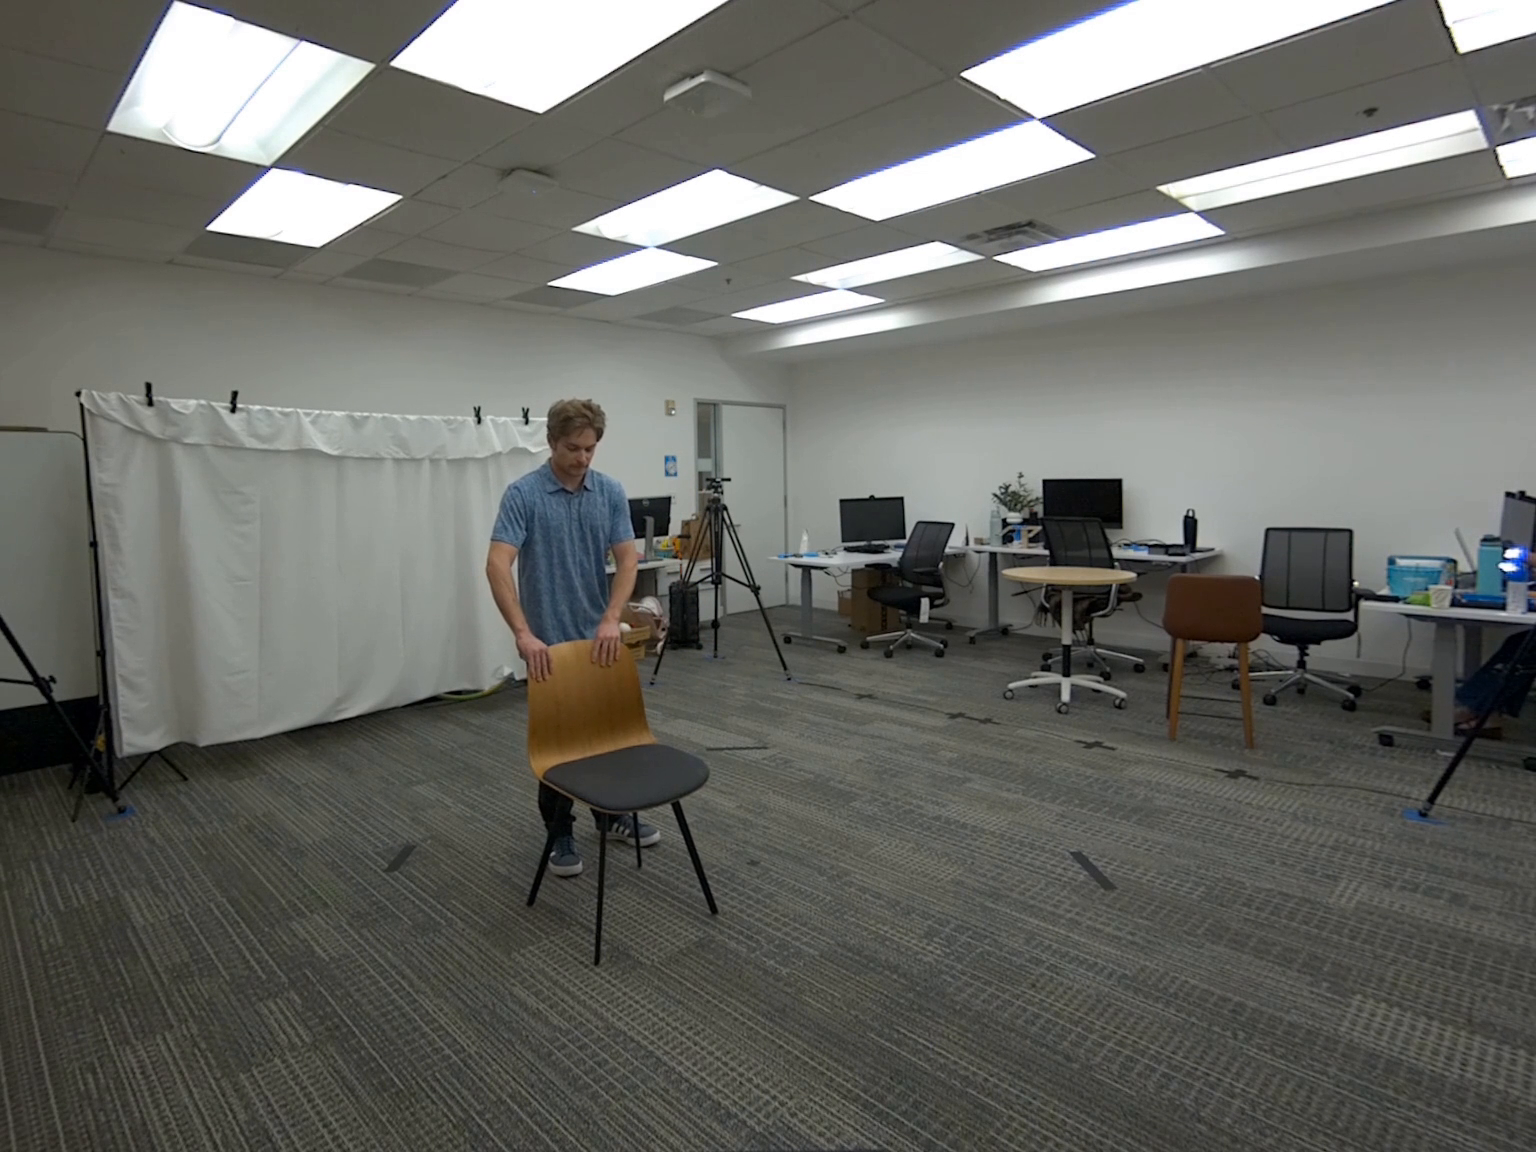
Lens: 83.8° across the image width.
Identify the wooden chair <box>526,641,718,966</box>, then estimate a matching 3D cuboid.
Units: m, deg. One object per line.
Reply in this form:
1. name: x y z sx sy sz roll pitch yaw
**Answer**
1. wooden chair: -0.476 0.664 2.741 0.465 0.876 0.537 -5 2 -40
